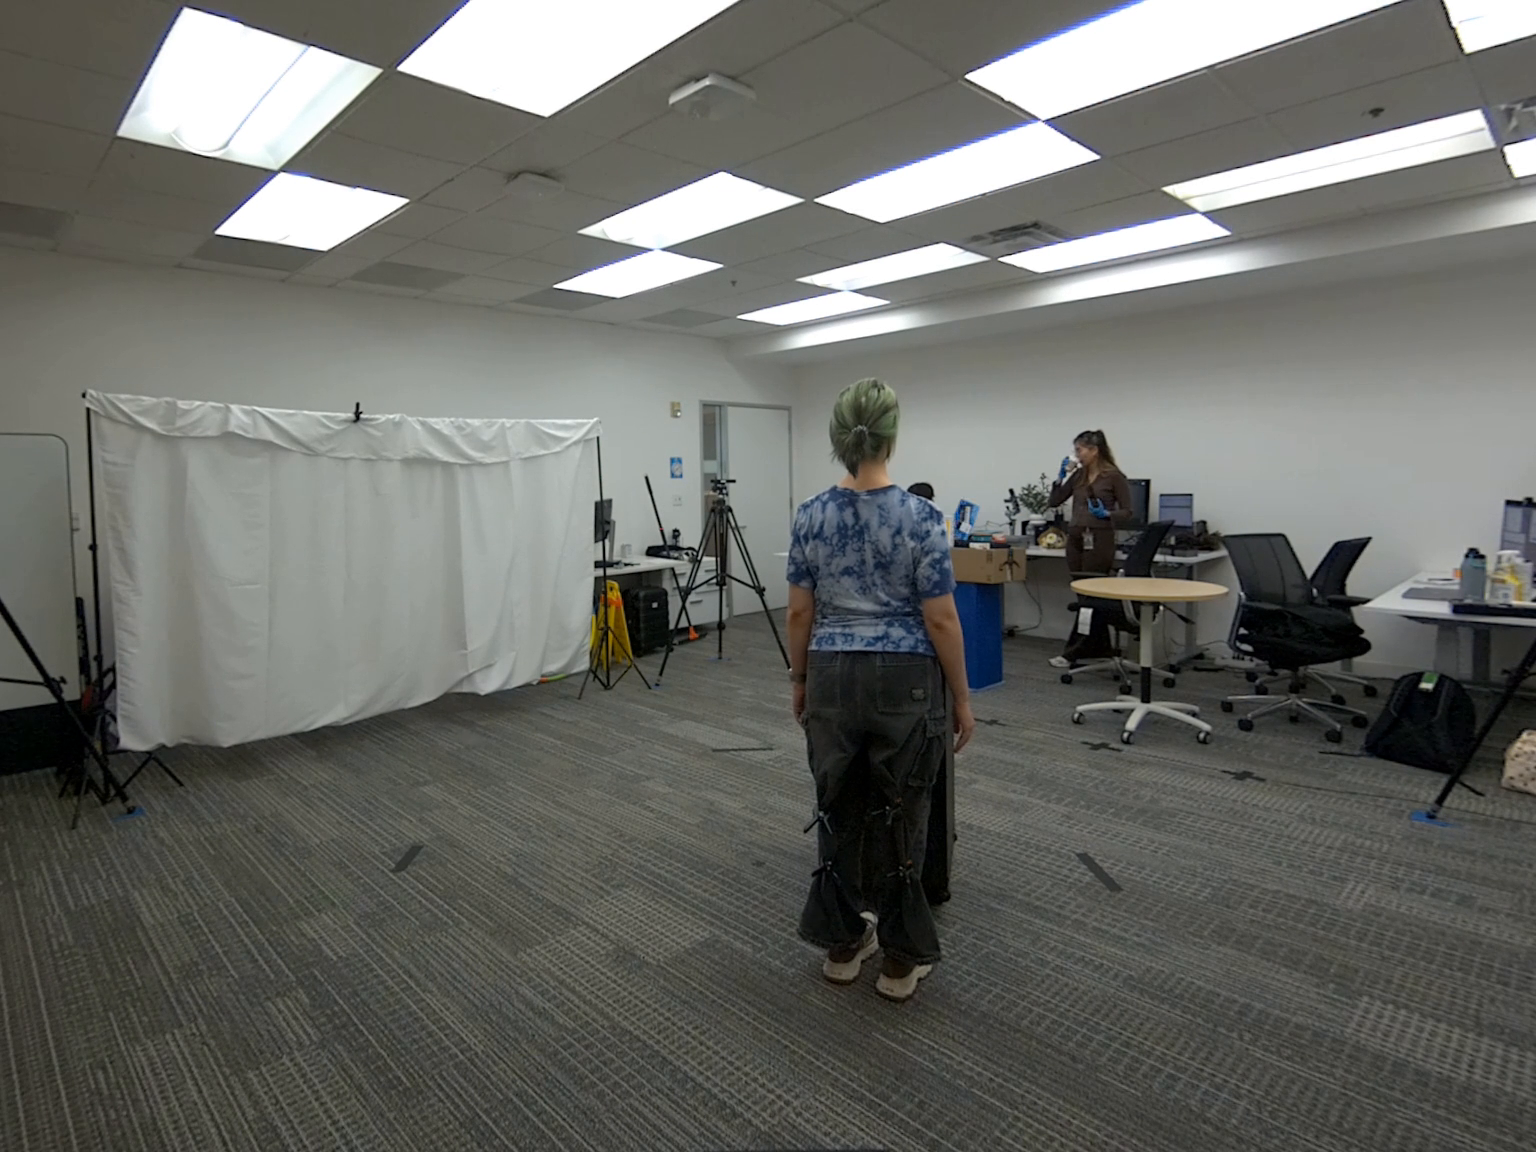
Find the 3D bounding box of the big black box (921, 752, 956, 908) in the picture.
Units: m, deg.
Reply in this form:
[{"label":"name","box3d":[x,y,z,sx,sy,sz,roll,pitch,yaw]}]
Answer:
[{"label":"big black box","box3d":[0.442,0.638,2.918,0.403,0.858,0.515,-1,5,17]}]
